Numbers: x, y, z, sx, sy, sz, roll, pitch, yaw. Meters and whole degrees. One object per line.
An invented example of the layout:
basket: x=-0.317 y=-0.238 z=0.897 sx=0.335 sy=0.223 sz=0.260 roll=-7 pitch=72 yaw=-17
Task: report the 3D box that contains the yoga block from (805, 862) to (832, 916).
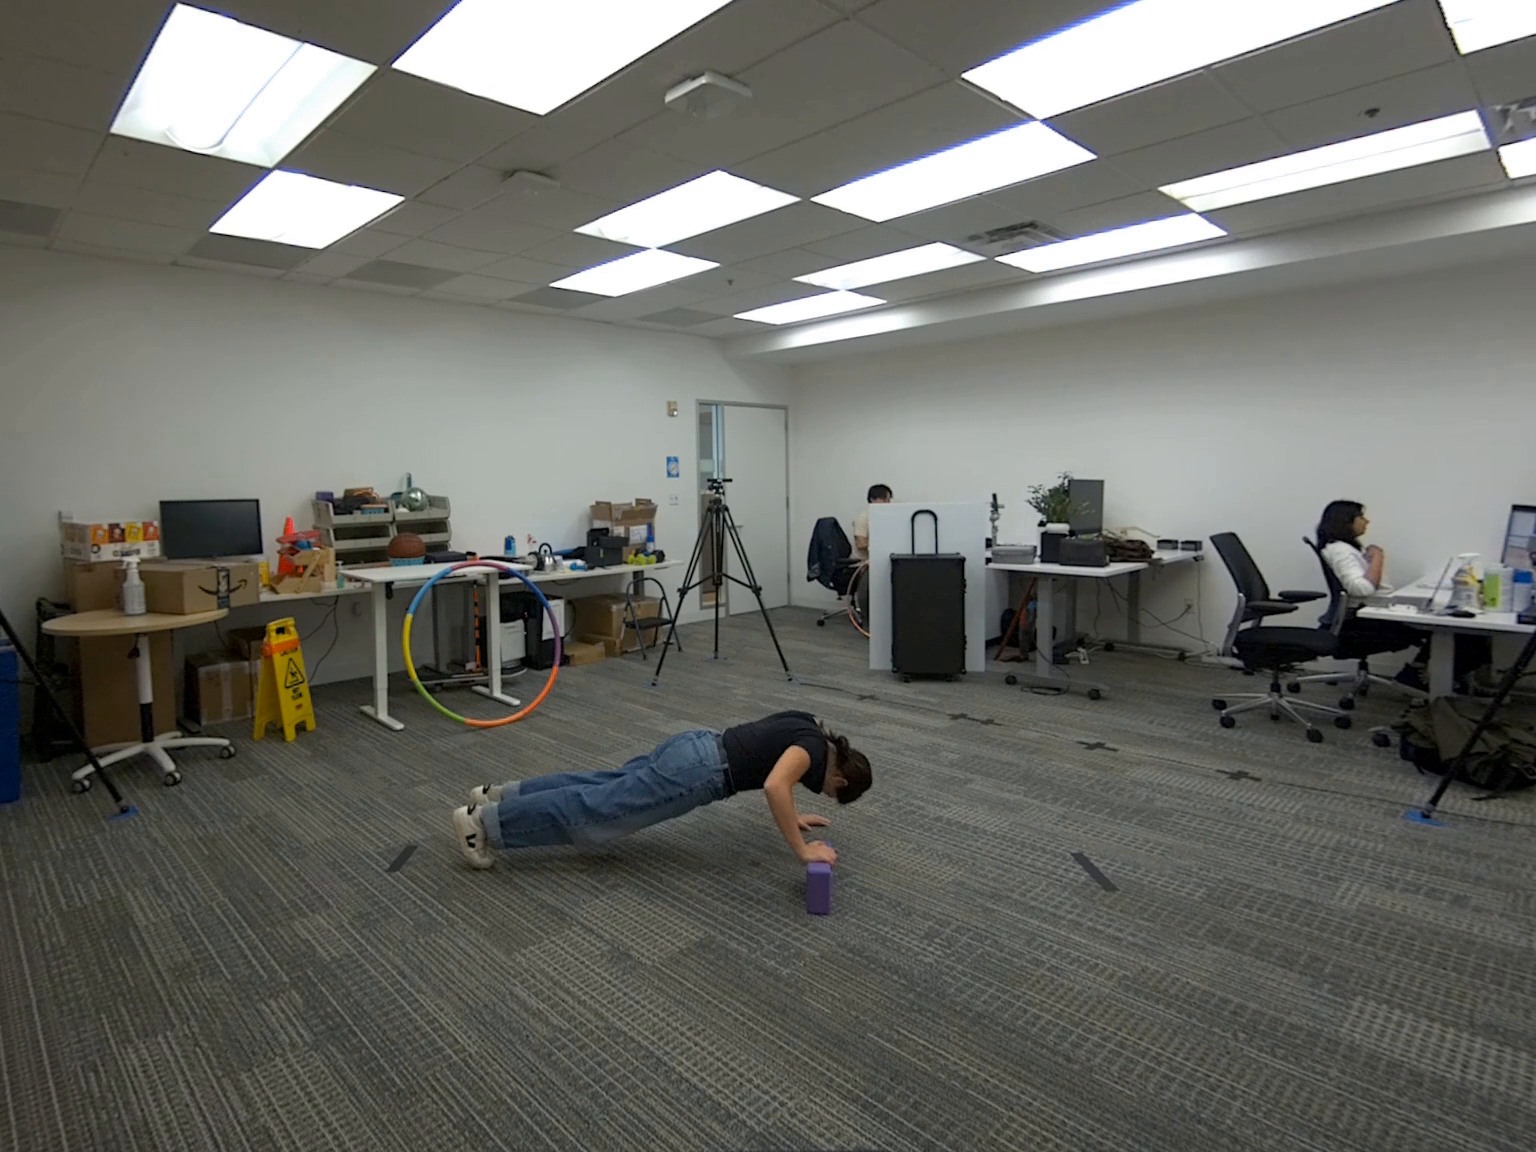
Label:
yoga block: x=0.168 y=1.005 z=2.843 sx=0.077 sy=0.149 sz=0.228 roll=-2 pitch=3 yaw=5
